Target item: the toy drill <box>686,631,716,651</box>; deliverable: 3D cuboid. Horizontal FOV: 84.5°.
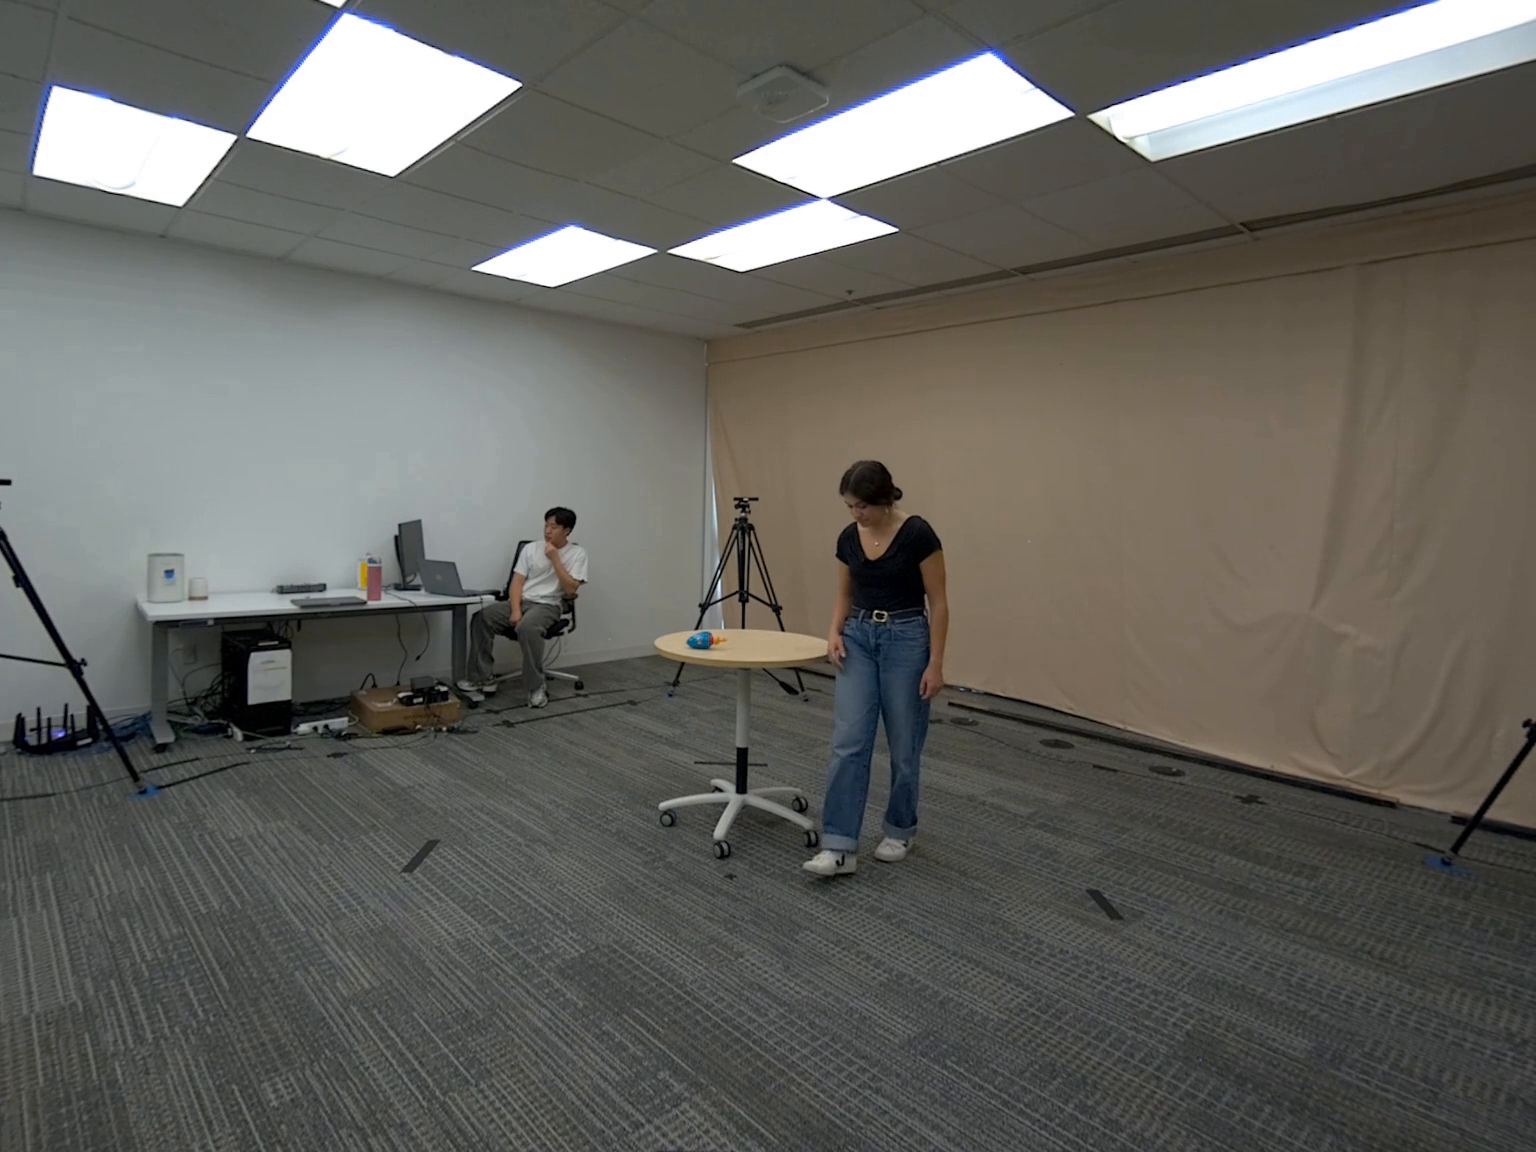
[{"bbox_3d":[-0.246,0.259,3.446,0.171,0.061,0.145,-7,4,9],"label":"toy drill"}]
